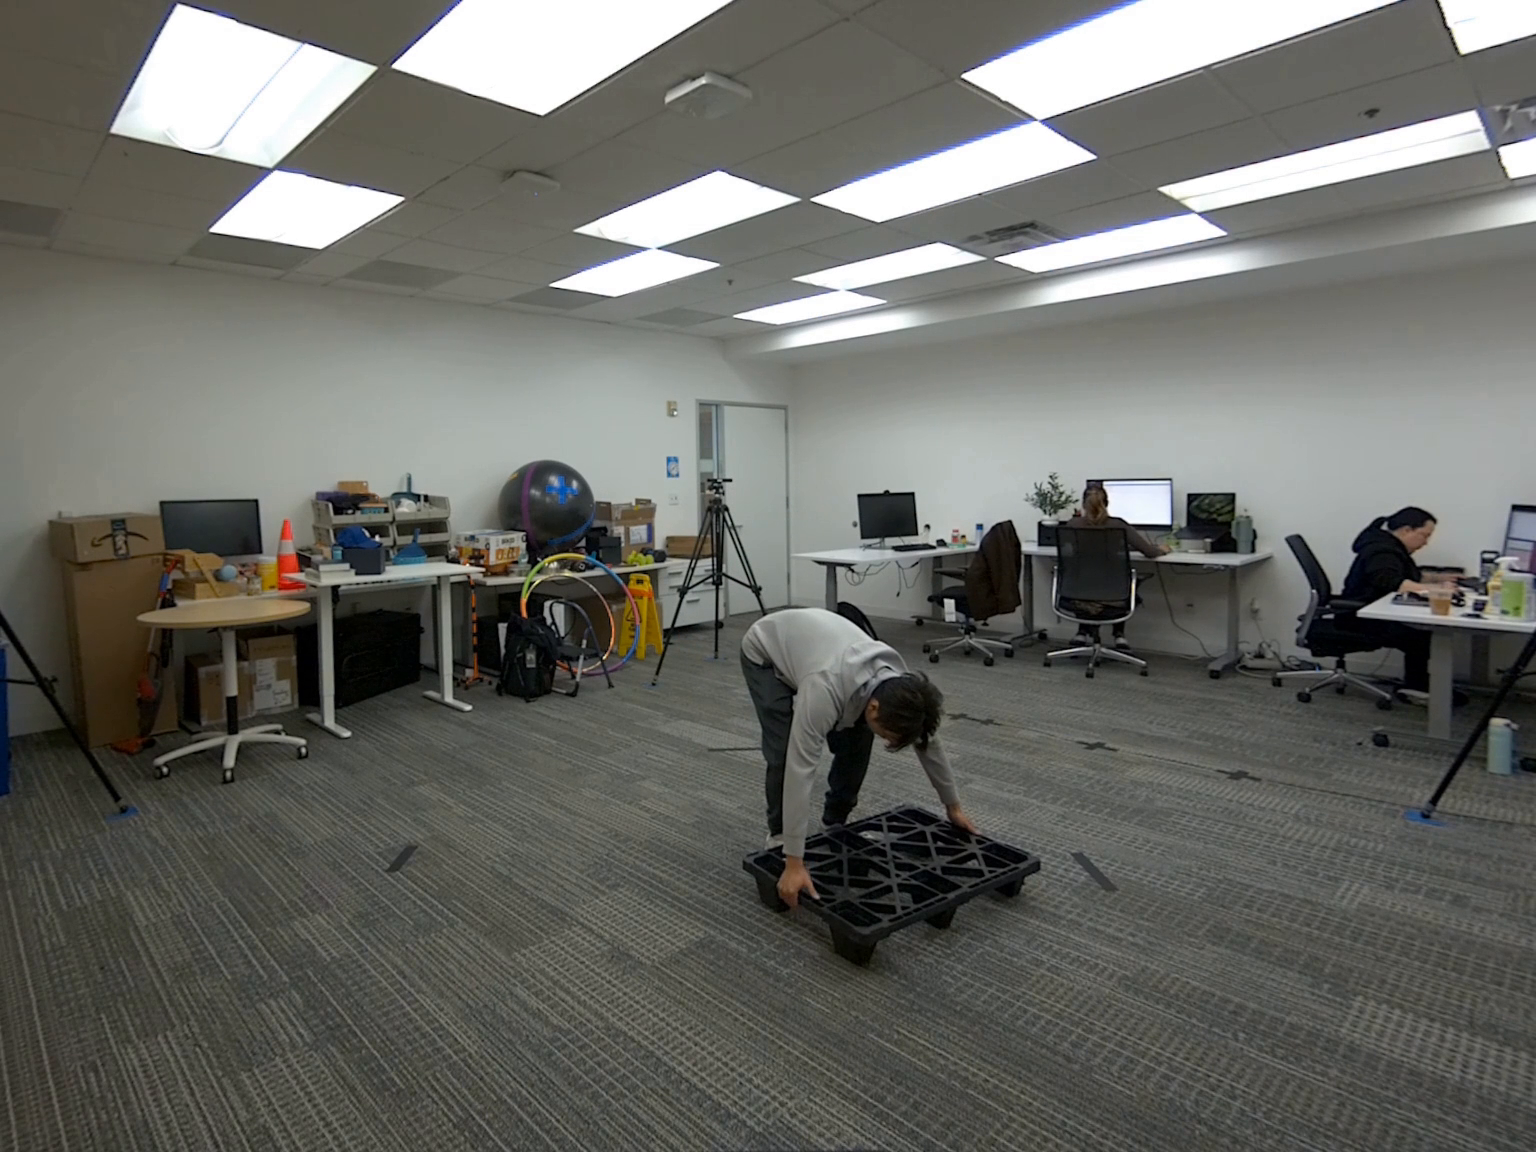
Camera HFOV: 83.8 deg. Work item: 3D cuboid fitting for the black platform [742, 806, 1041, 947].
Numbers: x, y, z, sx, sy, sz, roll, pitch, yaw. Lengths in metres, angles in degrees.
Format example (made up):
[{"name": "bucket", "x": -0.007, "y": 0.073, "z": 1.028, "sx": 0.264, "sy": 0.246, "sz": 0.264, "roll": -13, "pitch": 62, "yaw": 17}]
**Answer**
[{"name": "black platform", "x": 0.406, "y": 1.005, "z": 2.829, "sx": 0.785, "sy": 0.143, "sz": 0.623, "roll": -6, "pitch": 7, "yaw": -35}]
